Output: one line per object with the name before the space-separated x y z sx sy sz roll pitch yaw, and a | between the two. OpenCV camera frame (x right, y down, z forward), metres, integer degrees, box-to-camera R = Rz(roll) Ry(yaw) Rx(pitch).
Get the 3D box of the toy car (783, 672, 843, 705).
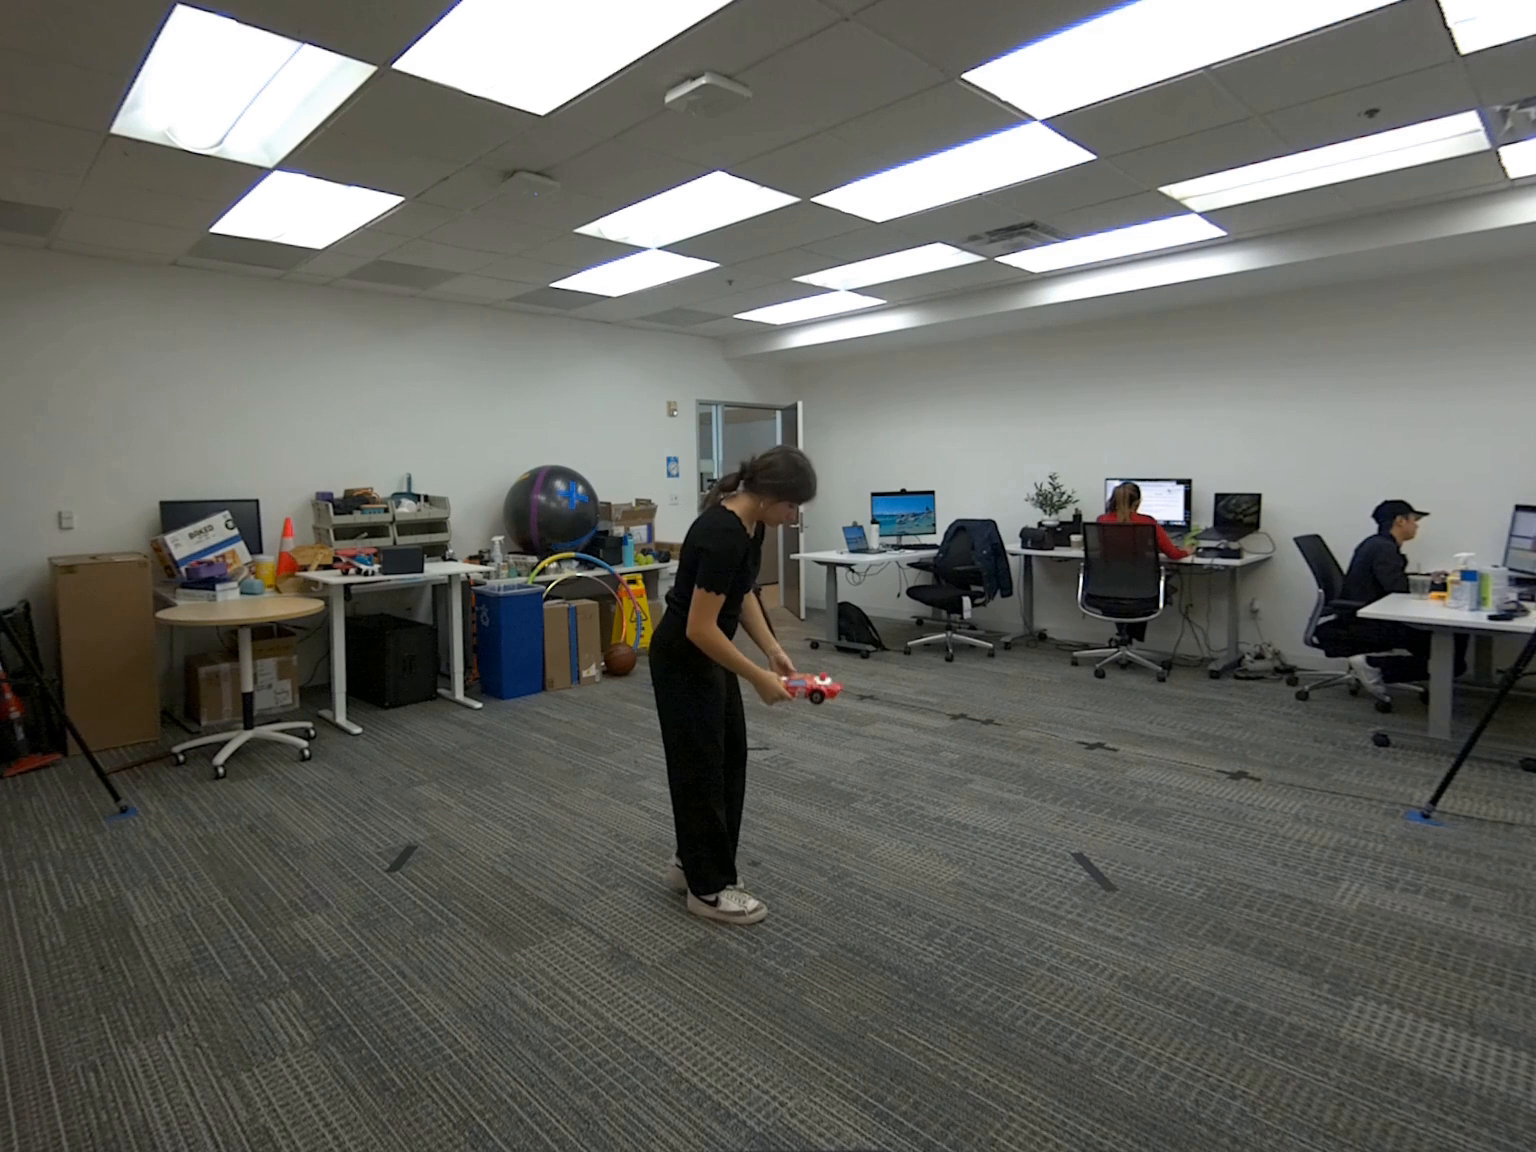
toy car | 0.106 0.351 2.624 0.257 0.083 0.129 -9 4 13
